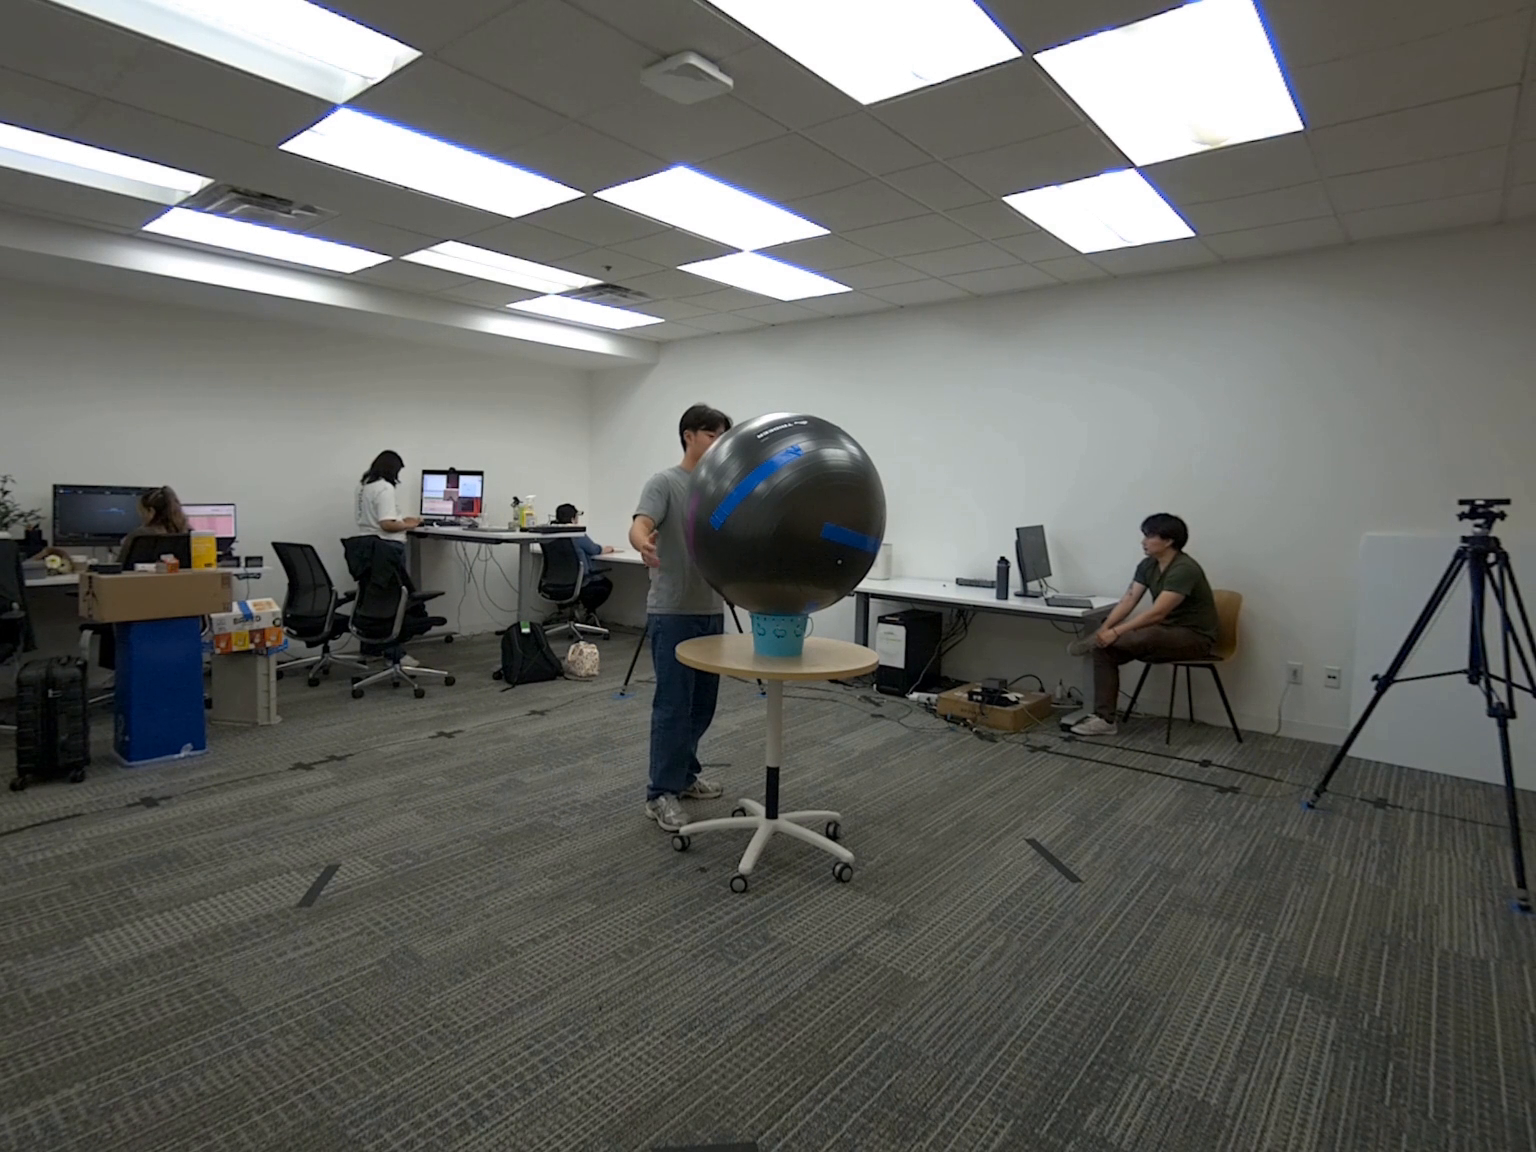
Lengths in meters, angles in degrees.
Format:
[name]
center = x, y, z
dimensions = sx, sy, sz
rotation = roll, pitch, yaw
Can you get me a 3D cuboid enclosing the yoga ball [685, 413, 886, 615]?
[yoga ball]
center = 0.042, -0.229, 3.178
dimensions = 0.757, 0.755, 0.762
rotation = 1, 4, -2
